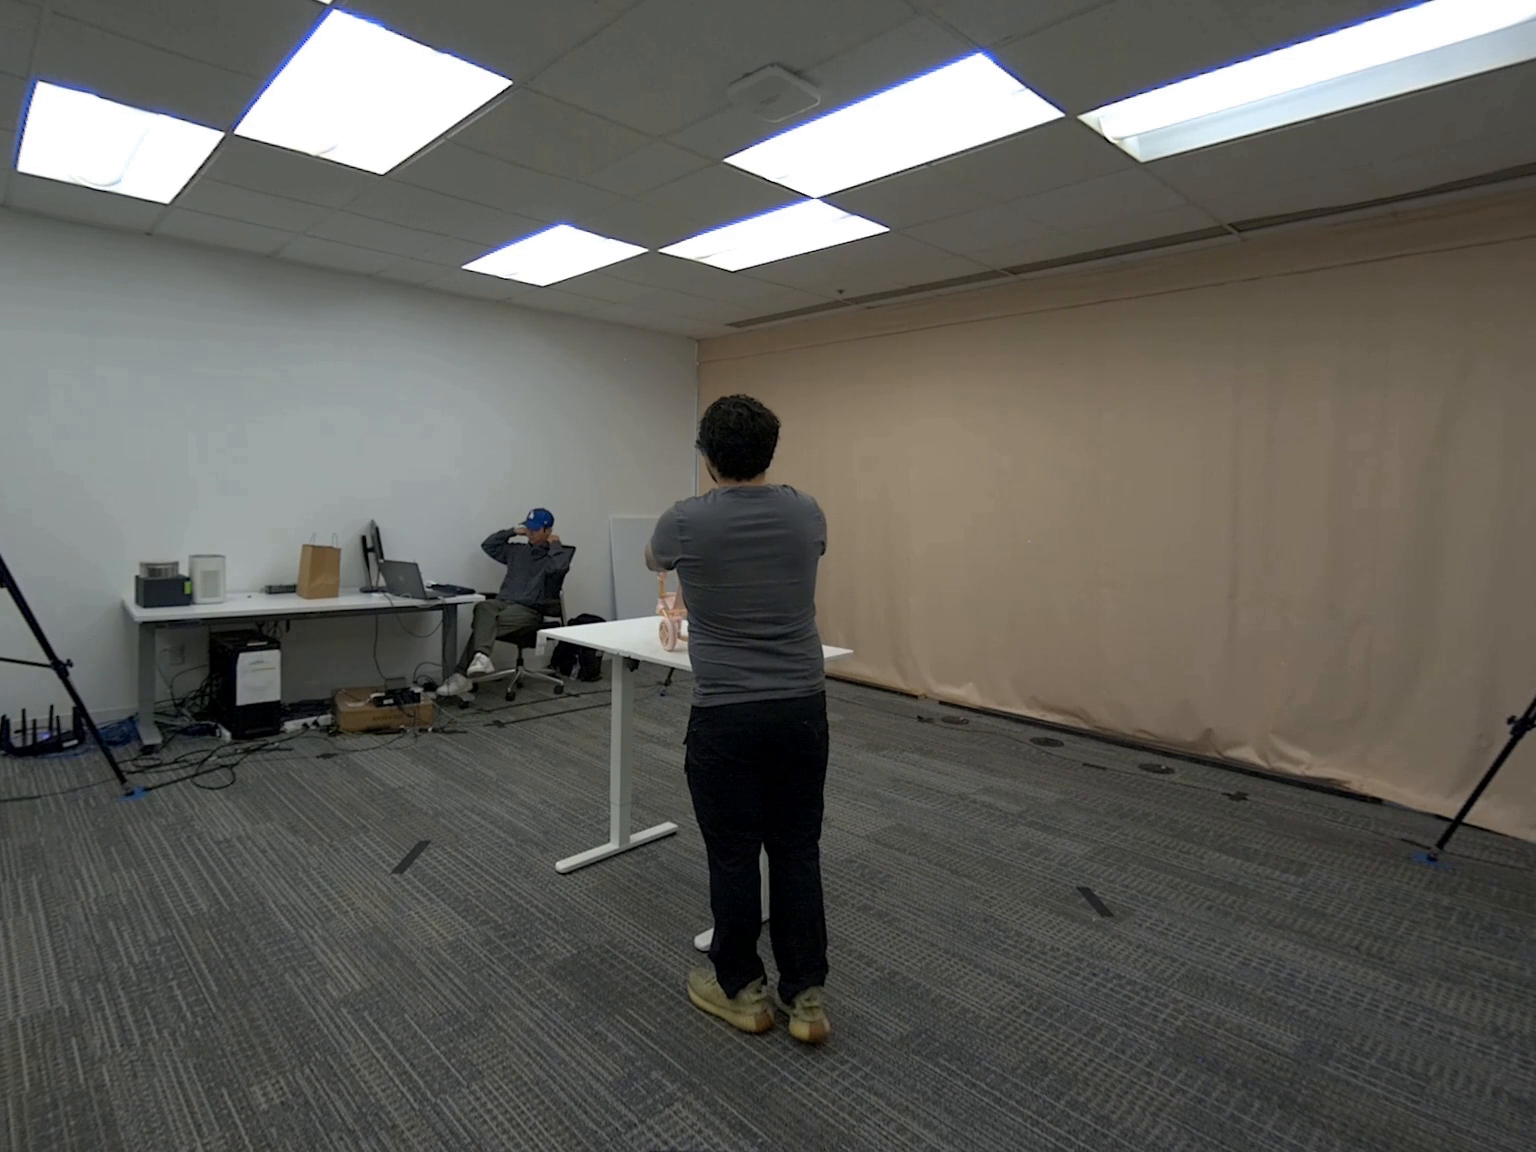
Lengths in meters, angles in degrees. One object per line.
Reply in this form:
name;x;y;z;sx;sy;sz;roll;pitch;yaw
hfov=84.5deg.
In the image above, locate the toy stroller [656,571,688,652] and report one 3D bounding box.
toy stroller;-0.249;0.020;2.886;0.277;0.529;0.351;0;20;-23
